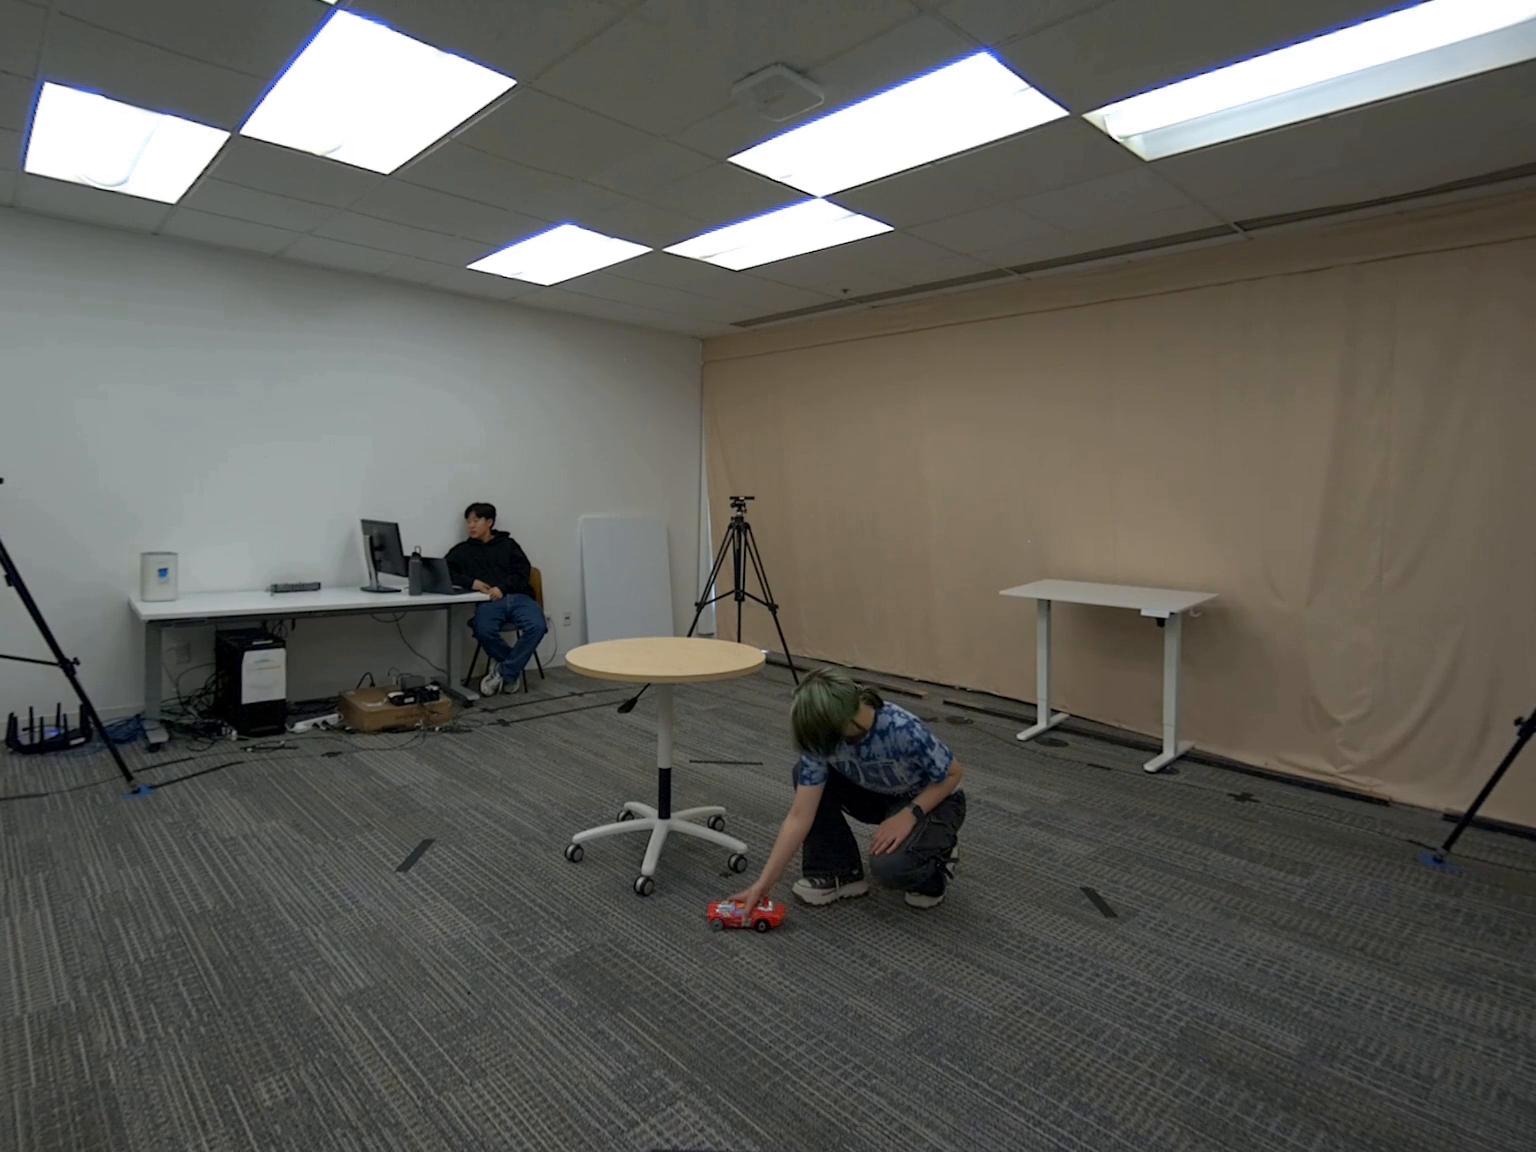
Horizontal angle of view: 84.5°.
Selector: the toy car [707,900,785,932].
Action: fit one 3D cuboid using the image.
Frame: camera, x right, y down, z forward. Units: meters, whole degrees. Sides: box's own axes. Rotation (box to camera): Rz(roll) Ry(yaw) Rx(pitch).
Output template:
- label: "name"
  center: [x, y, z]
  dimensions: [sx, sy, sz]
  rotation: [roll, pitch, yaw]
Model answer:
- label: "toy car"
  center: [-0.069, 1.105, 2.746]
  dimensions: [0.255, 0.083, 0.130]
  rotation: [-10, 4, 1]
